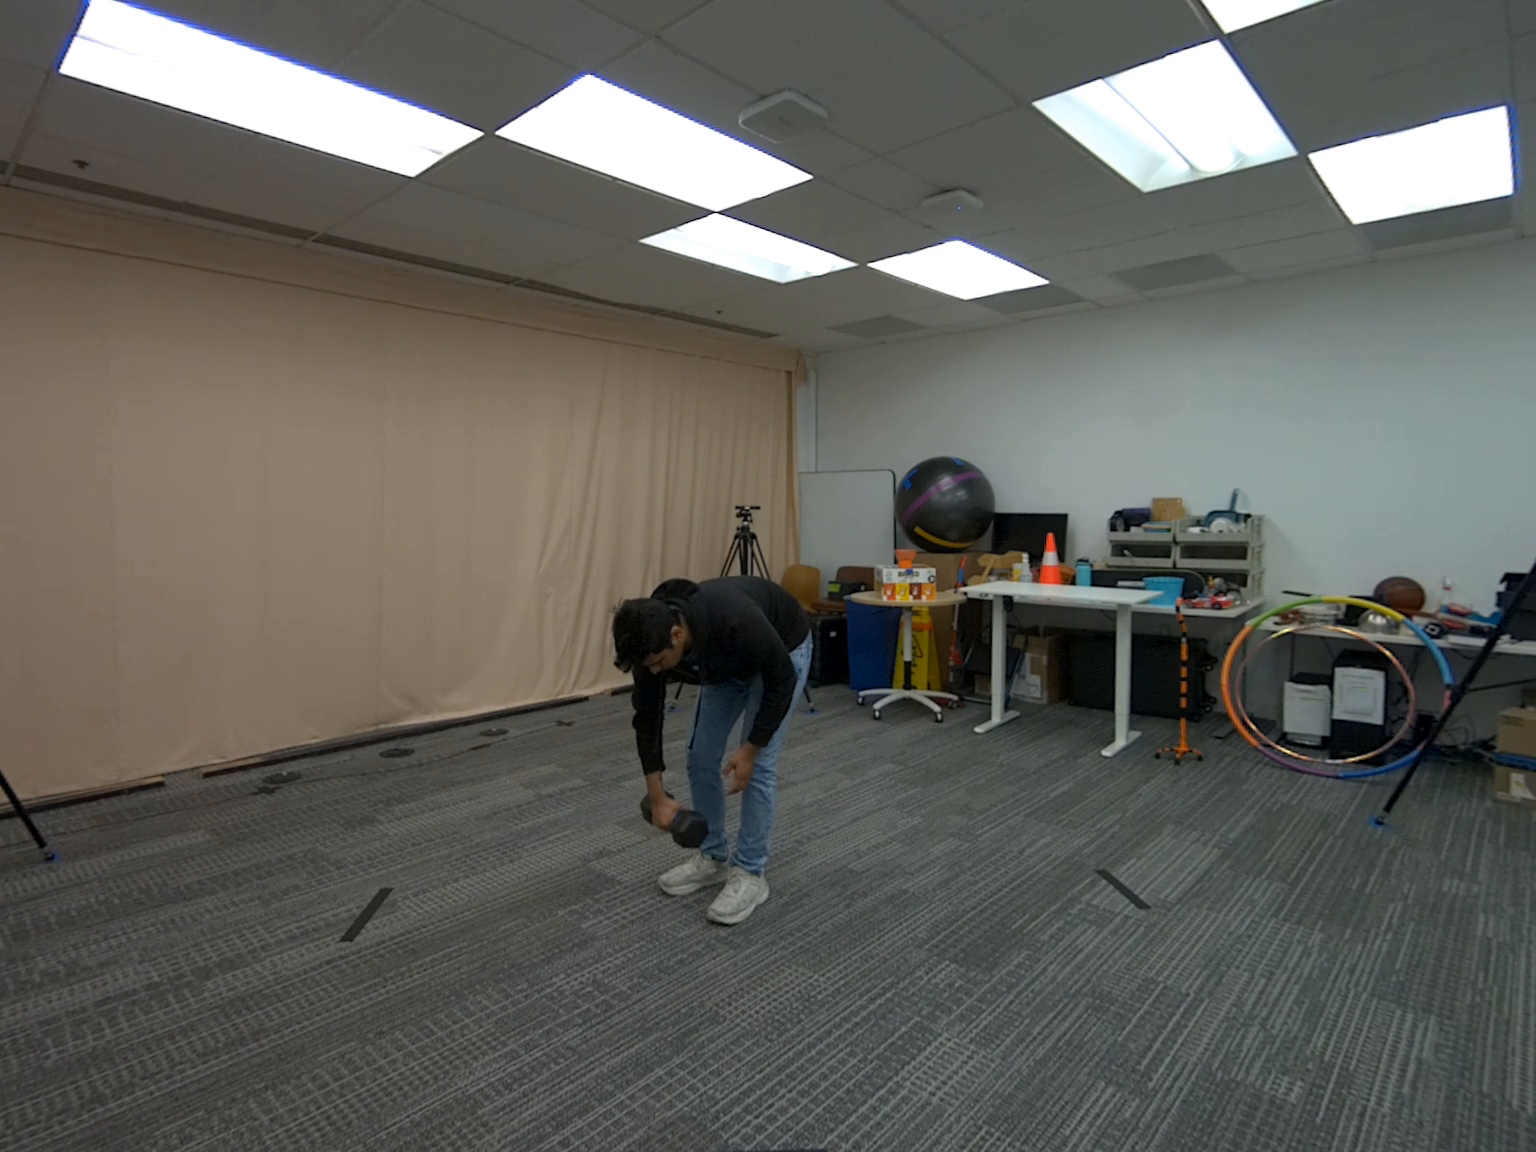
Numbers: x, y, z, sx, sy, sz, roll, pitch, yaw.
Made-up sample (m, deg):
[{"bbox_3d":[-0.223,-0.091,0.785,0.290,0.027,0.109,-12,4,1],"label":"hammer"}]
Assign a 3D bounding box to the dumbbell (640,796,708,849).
[{"bbox_3d":[-0.315,0.815,2.840,0.303,0.122,0.106,8,-36,54],"label":"dumbbell"}]
